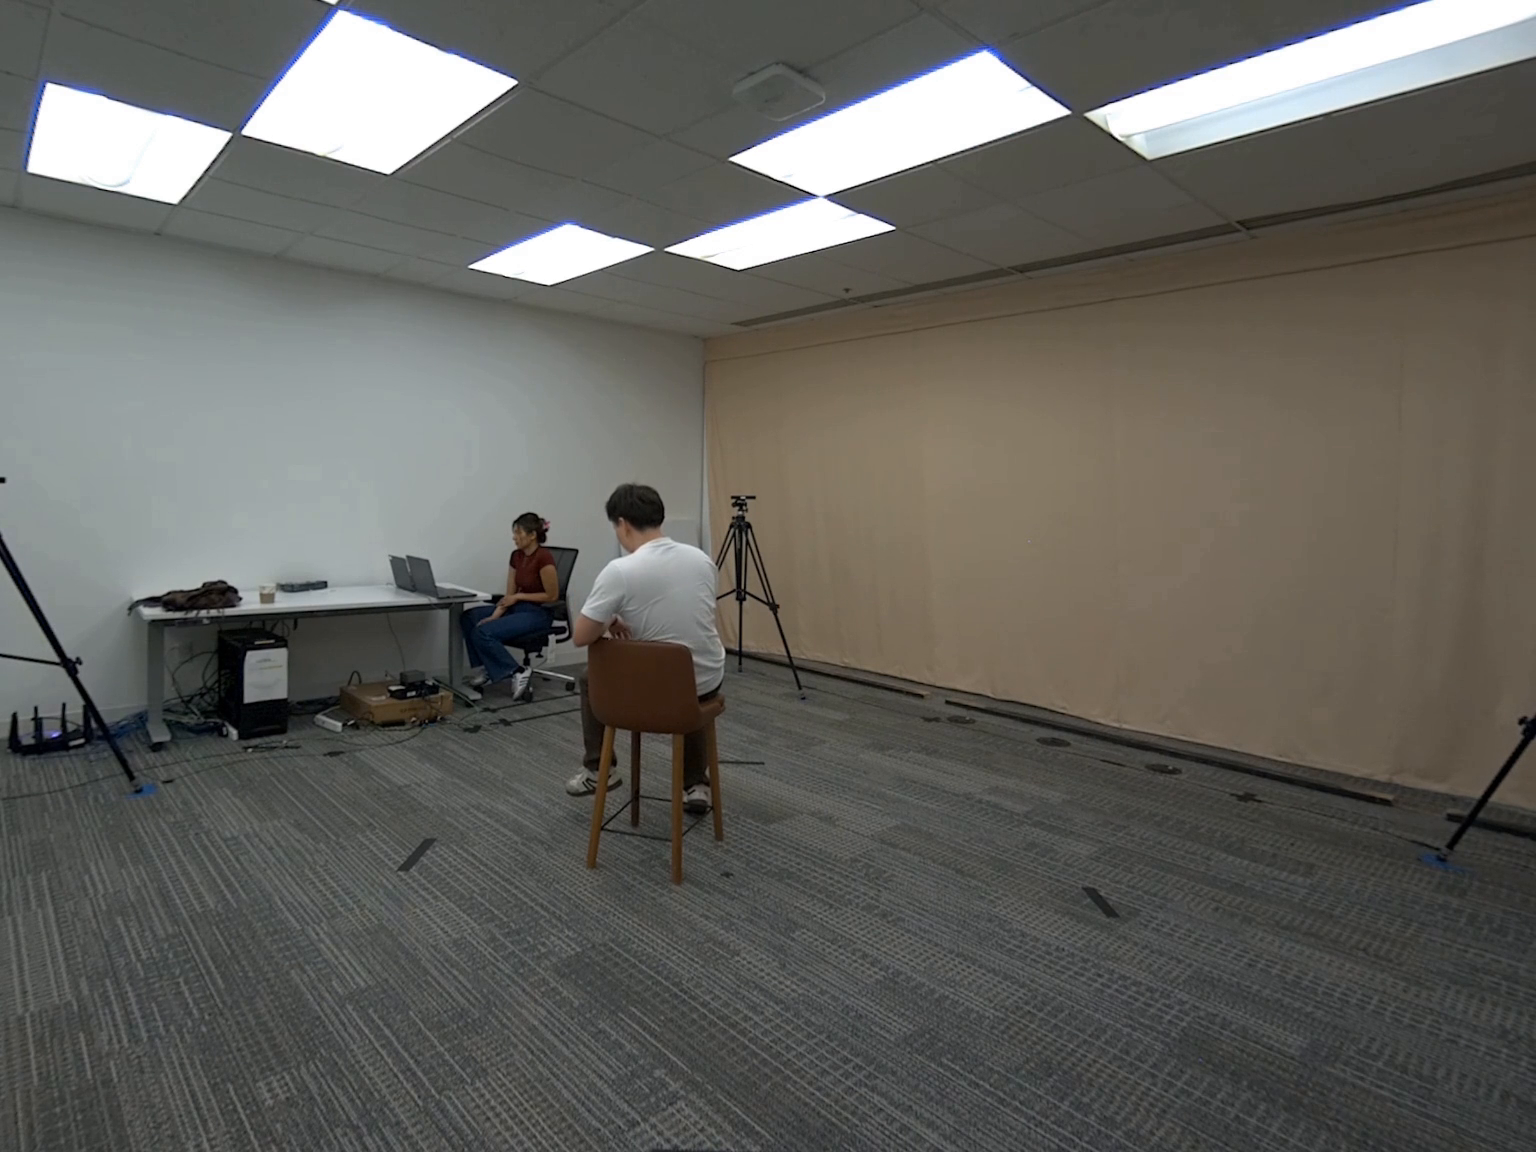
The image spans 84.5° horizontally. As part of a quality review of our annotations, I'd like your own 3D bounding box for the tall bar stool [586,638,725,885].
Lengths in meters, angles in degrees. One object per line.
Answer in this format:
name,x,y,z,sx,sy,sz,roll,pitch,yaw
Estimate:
tall bar stool,-0.437,0.655,3.252,0.463,0.886,0.462,1,5,18
